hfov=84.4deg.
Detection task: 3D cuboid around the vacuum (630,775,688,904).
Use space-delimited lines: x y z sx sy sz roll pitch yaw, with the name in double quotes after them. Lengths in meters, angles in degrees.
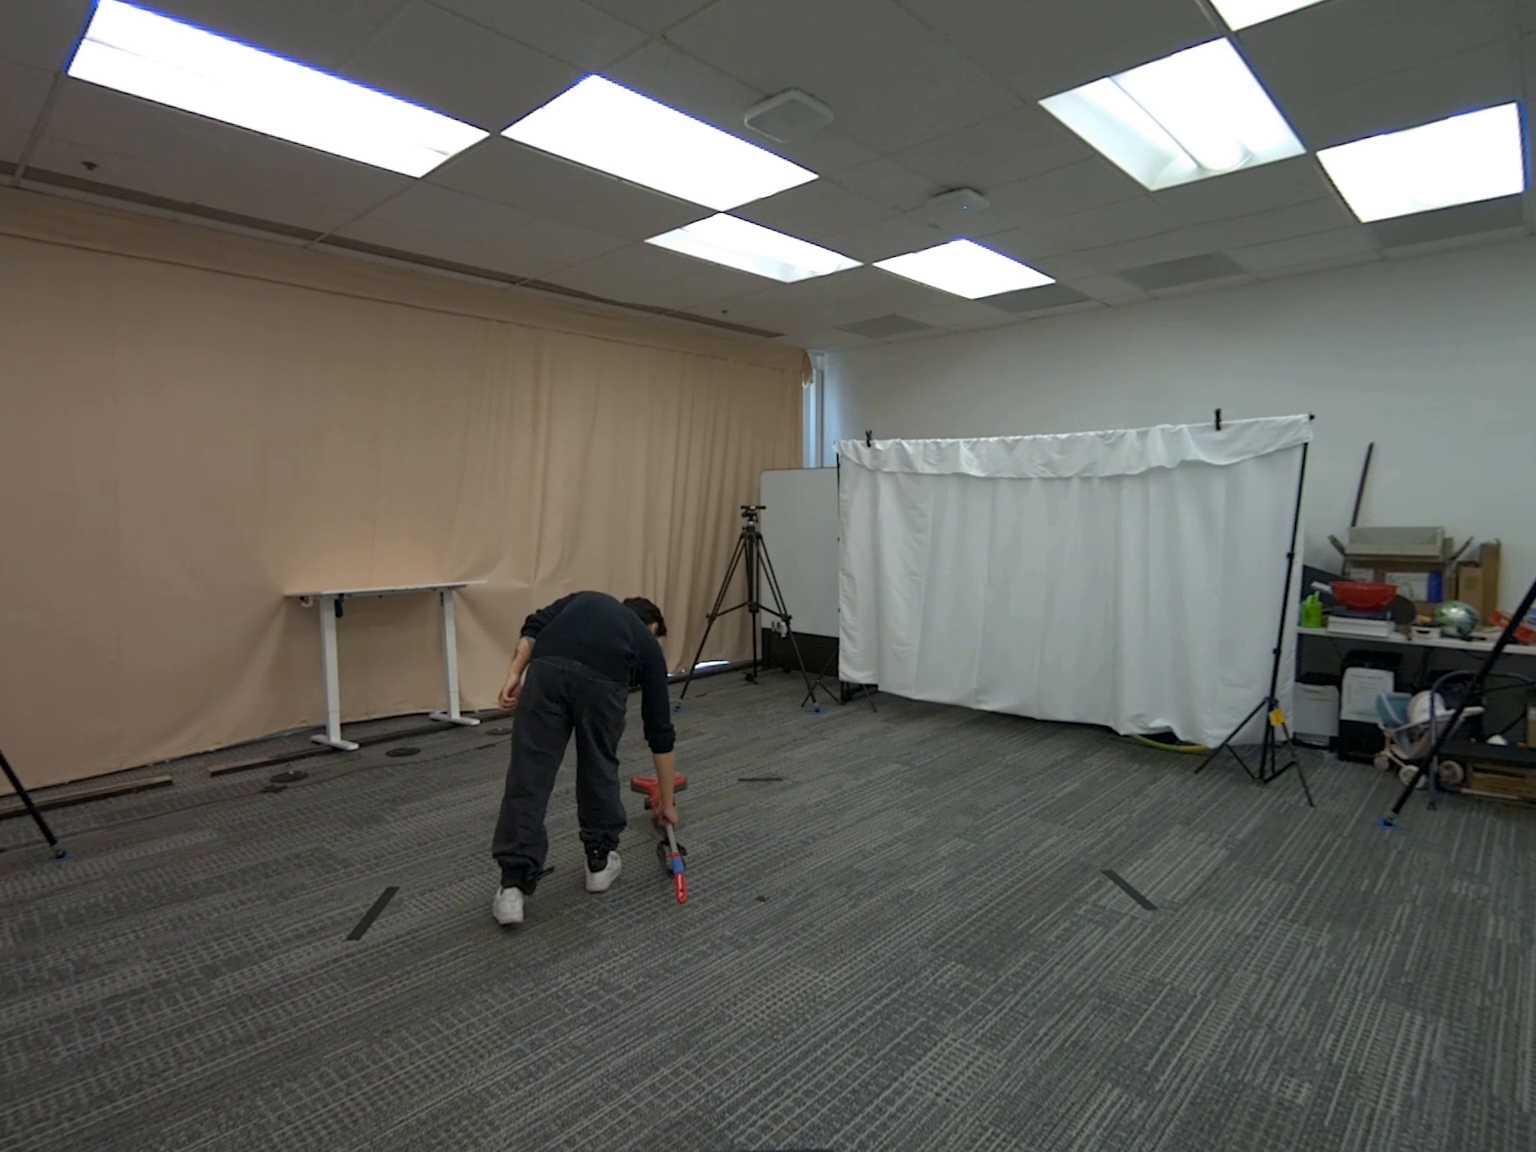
-0.380 0.999 3.210 0.250 0.143 1.063 -1 5 -12 "vacuum"
